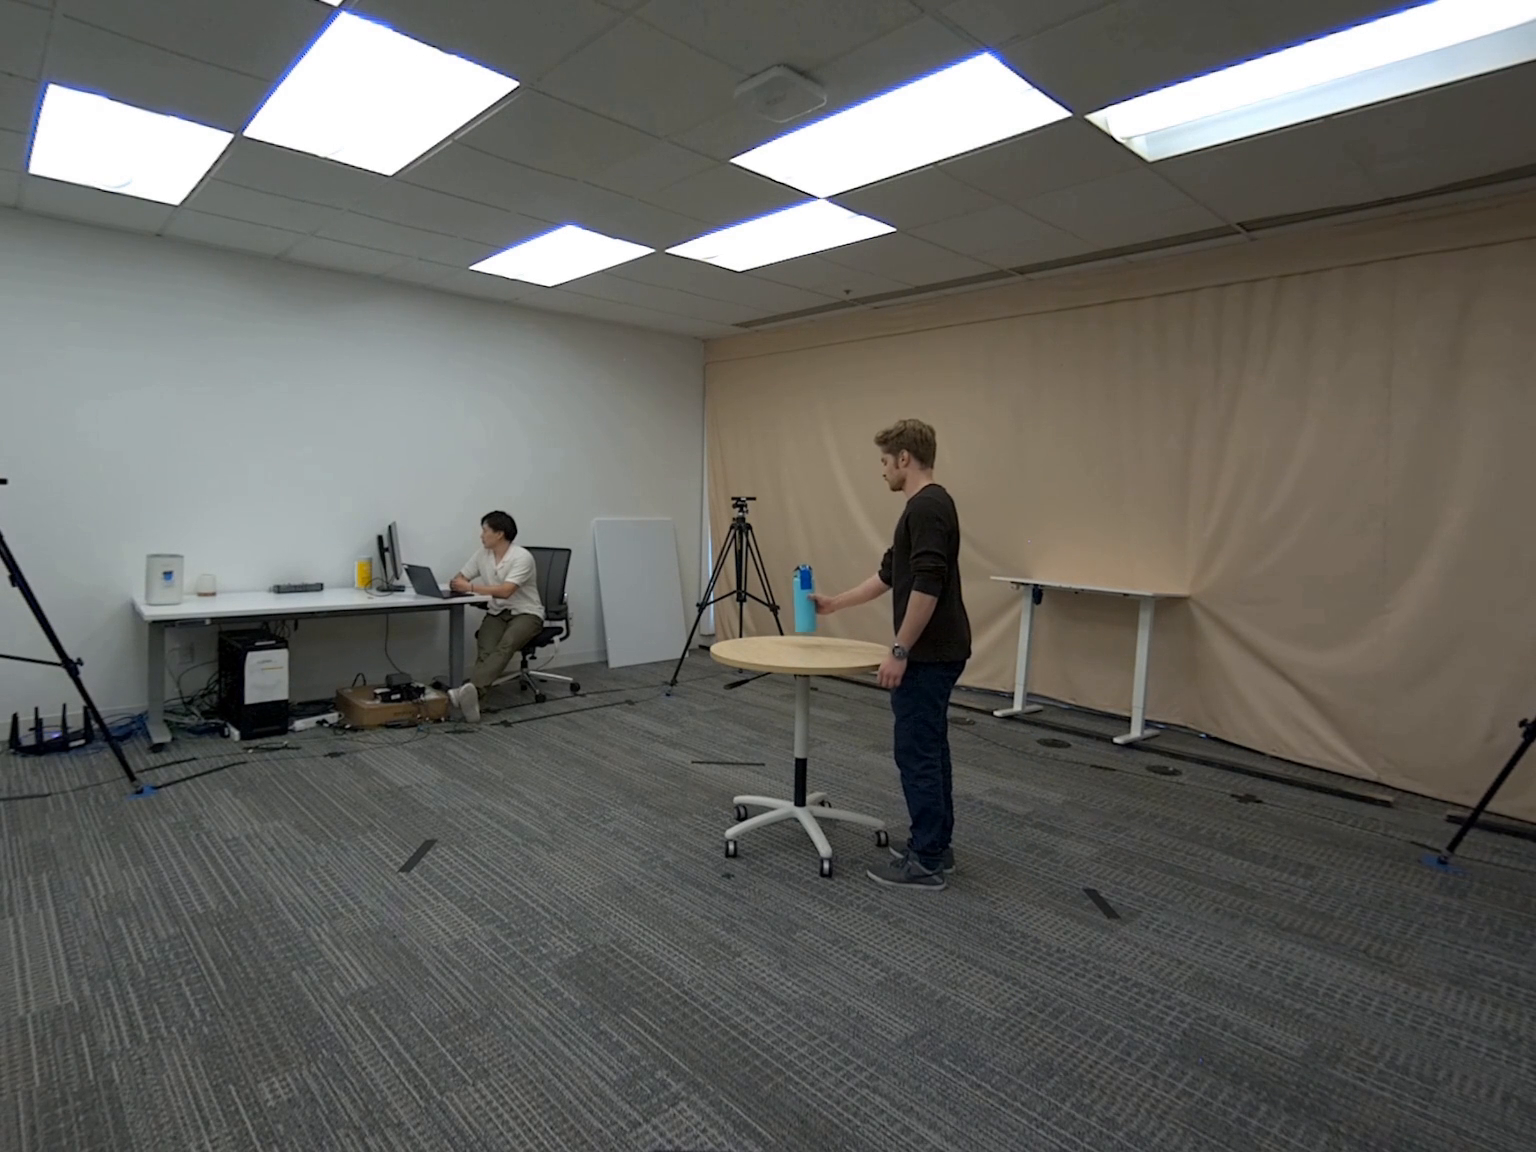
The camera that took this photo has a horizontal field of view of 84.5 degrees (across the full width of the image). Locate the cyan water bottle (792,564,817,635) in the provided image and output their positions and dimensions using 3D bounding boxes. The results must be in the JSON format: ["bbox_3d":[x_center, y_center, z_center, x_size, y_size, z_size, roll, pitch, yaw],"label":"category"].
[{"bbox_3d":[0.158,0.093,3.515,0.092,0.284,0.092,-3,-3,-1],"label":"cyan water bottle"}]
